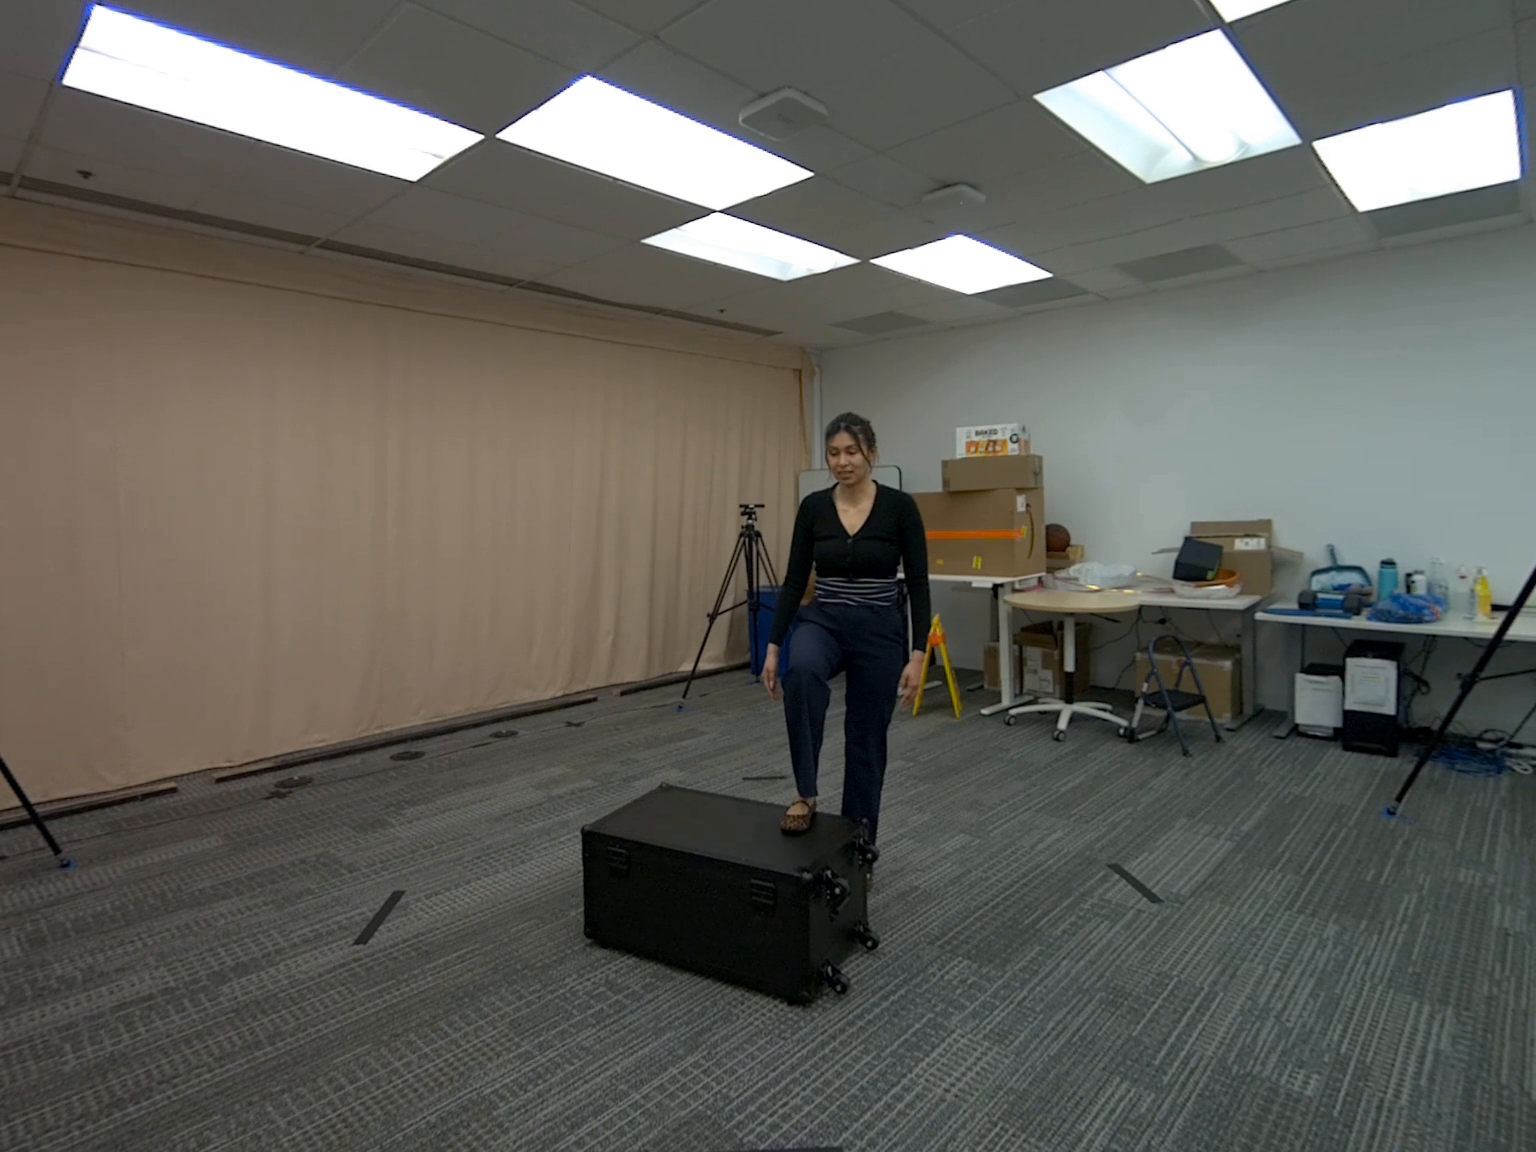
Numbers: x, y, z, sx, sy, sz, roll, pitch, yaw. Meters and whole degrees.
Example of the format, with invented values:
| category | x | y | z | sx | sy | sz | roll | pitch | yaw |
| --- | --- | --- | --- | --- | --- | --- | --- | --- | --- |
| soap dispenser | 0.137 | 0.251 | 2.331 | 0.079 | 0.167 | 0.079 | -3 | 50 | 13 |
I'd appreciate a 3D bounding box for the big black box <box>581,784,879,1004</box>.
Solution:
| category | x | y | z | sx | sy | sz | roll | pitch | yaw |
| --- | --- | --- | --- | --- | --- | --- | --- | --- | --- |
| big black box | -0.106 | 0.983 | 2.670 | 0.885 | 0.395 | 0.508 | 1 | 4 | 28 |
